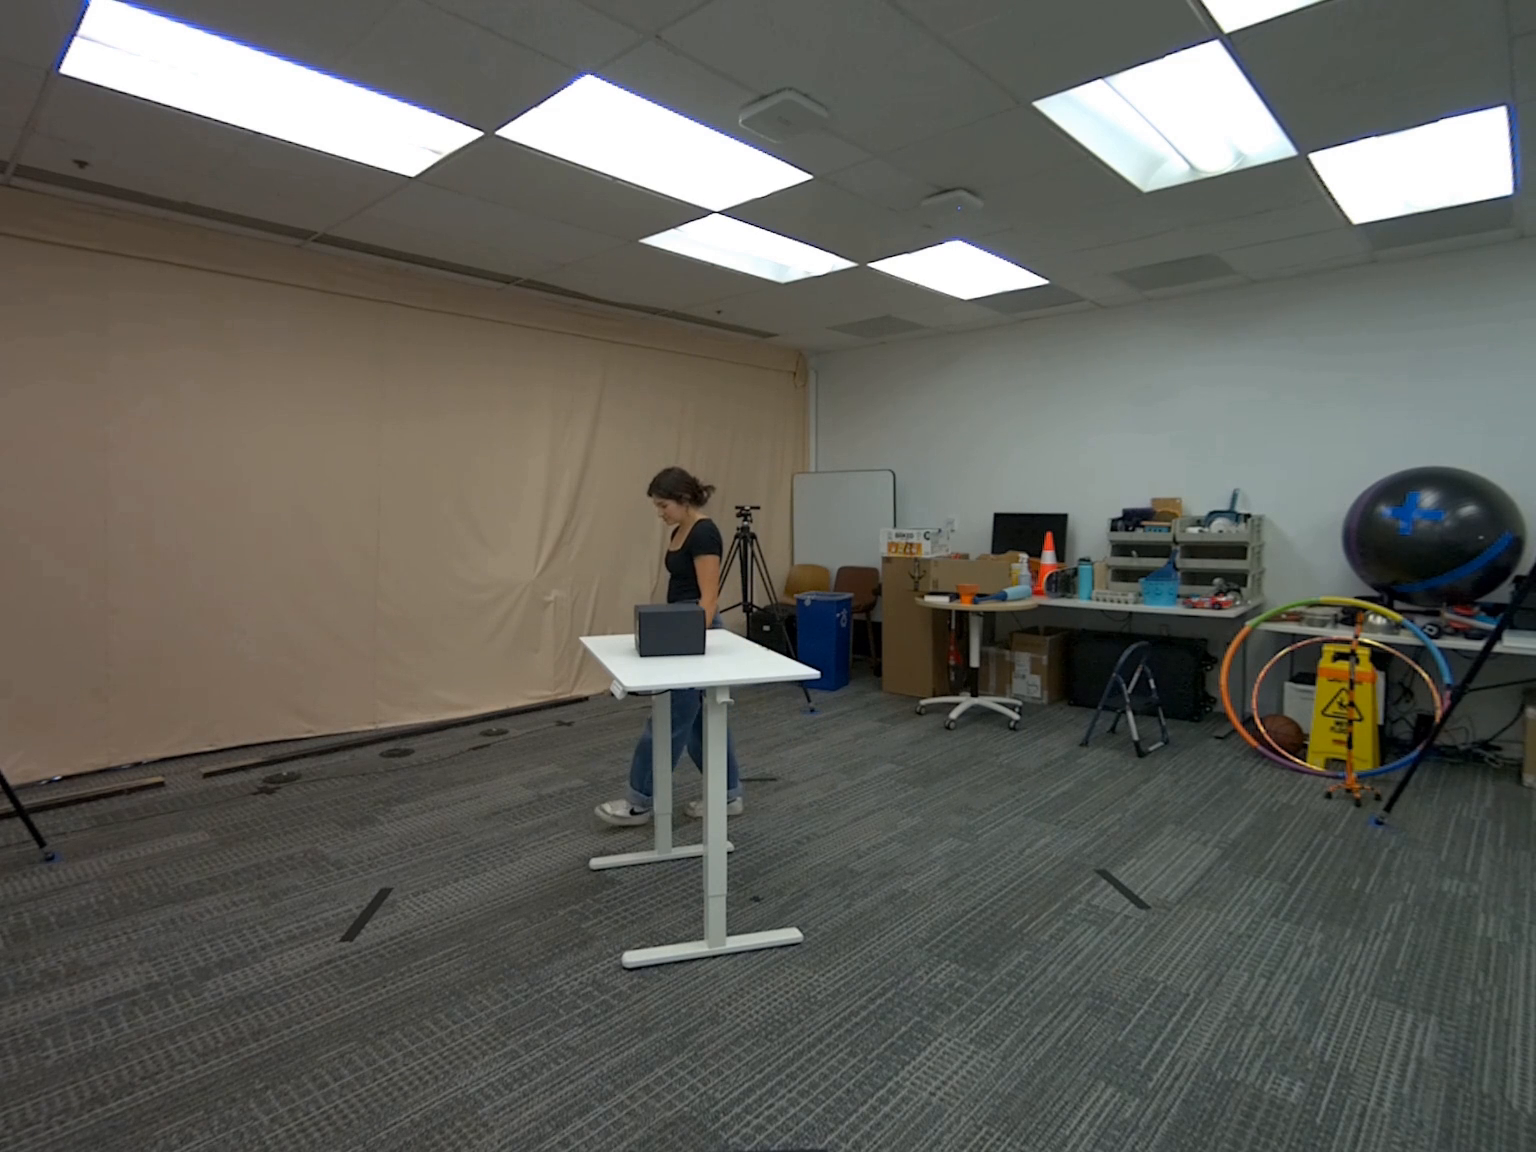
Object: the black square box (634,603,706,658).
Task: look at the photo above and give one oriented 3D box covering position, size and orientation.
[{"bbox_3d":[-0.347,0.178,2.970,0.226,0.155,0.219,0,5,-9],"label":"black square box"}]
